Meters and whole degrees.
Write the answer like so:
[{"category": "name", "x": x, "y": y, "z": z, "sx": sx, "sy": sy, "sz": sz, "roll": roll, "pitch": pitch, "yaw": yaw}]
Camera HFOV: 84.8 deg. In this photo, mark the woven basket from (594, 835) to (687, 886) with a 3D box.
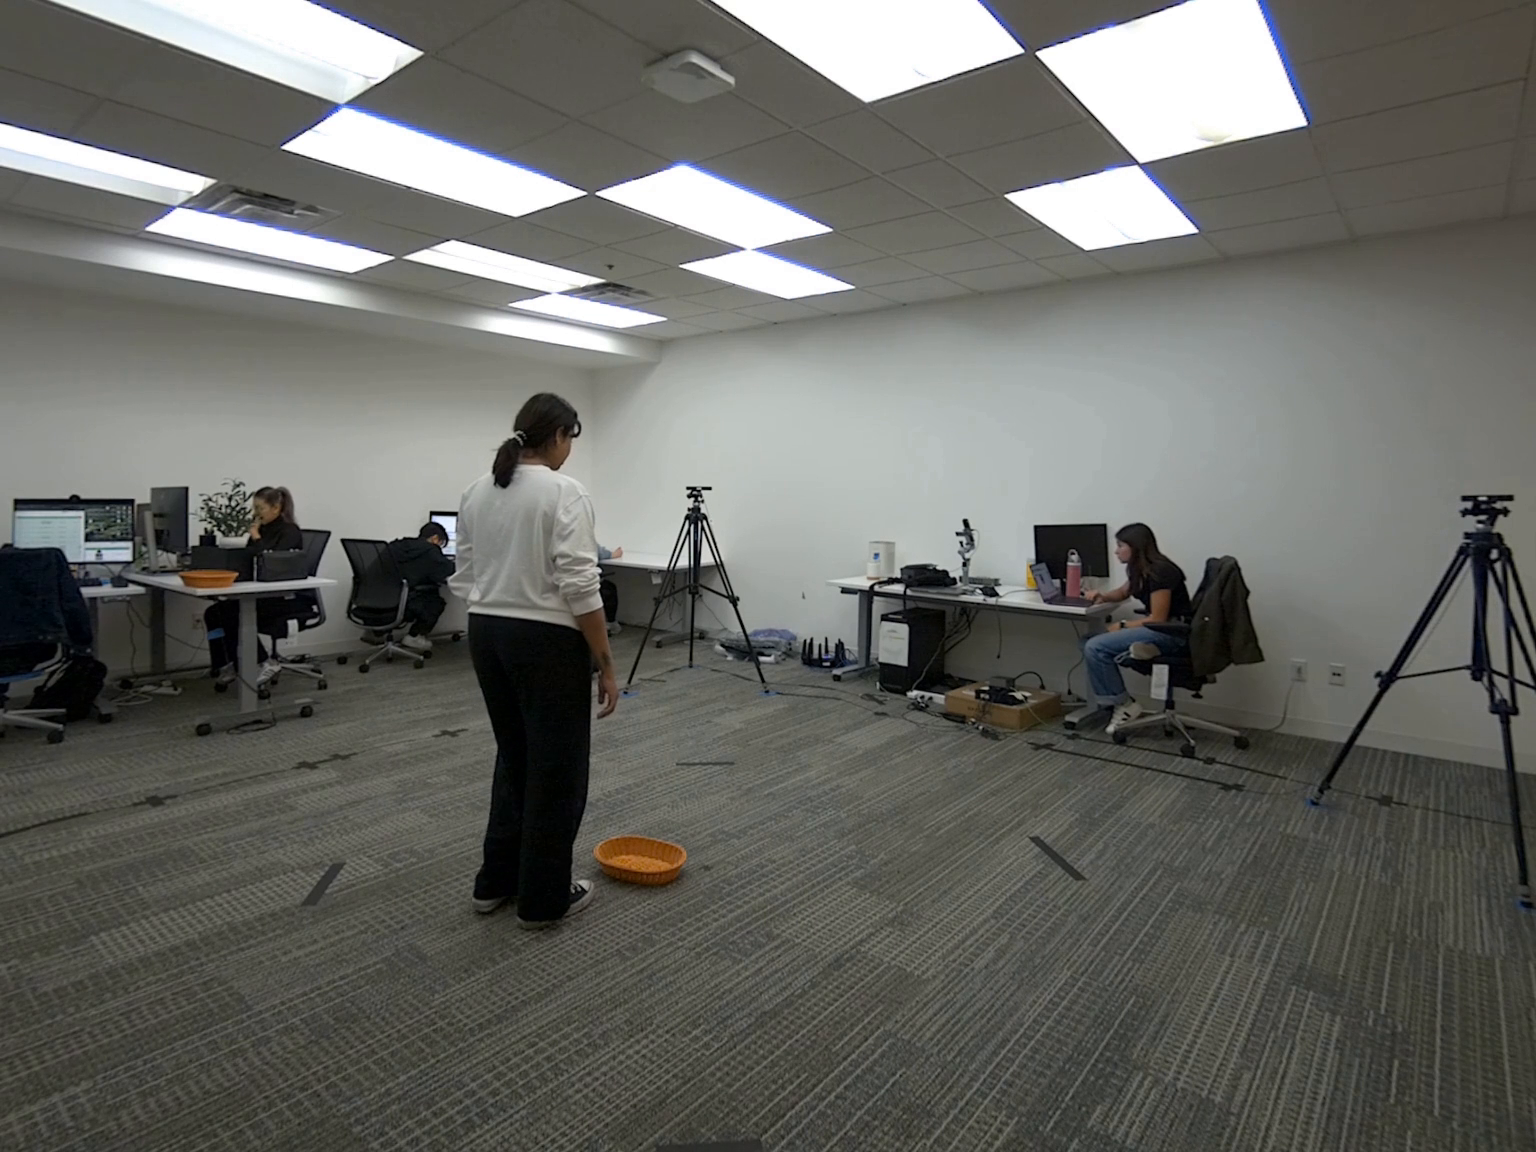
[{"category": "woven basket", "x": -0.462, "y": 1.024, "z": 3.062, "sx": 0.360, "sy": 0.073, "sz": 0.247, "roll": 4, "pitch": 8, "yaw": 27}]
